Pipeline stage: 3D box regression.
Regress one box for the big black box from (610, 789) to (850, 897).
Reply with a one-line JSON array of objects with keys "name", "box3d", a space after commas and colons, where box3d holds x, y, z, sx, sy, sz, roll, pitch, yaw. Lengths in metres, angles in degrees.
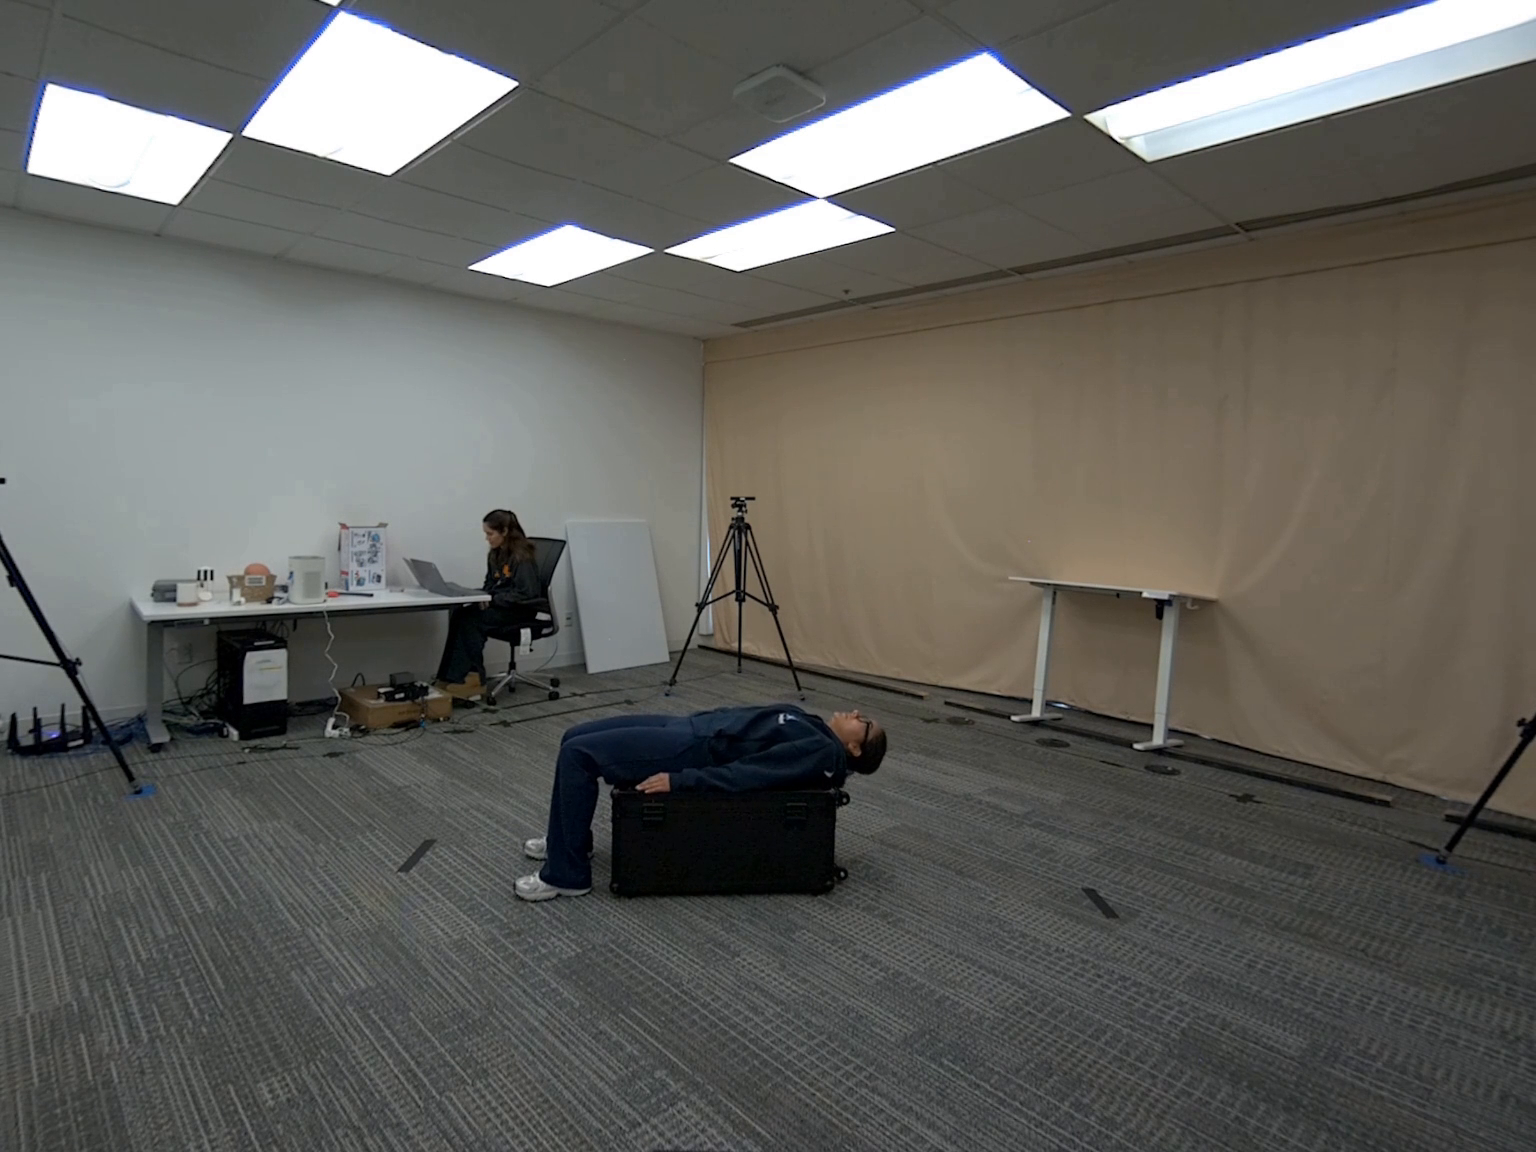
[{"name": "big black box", "box3d": [-0.146, 0.911, 3.157, 0.857, 0.395, 0.525, 1, 3, -6]}]
